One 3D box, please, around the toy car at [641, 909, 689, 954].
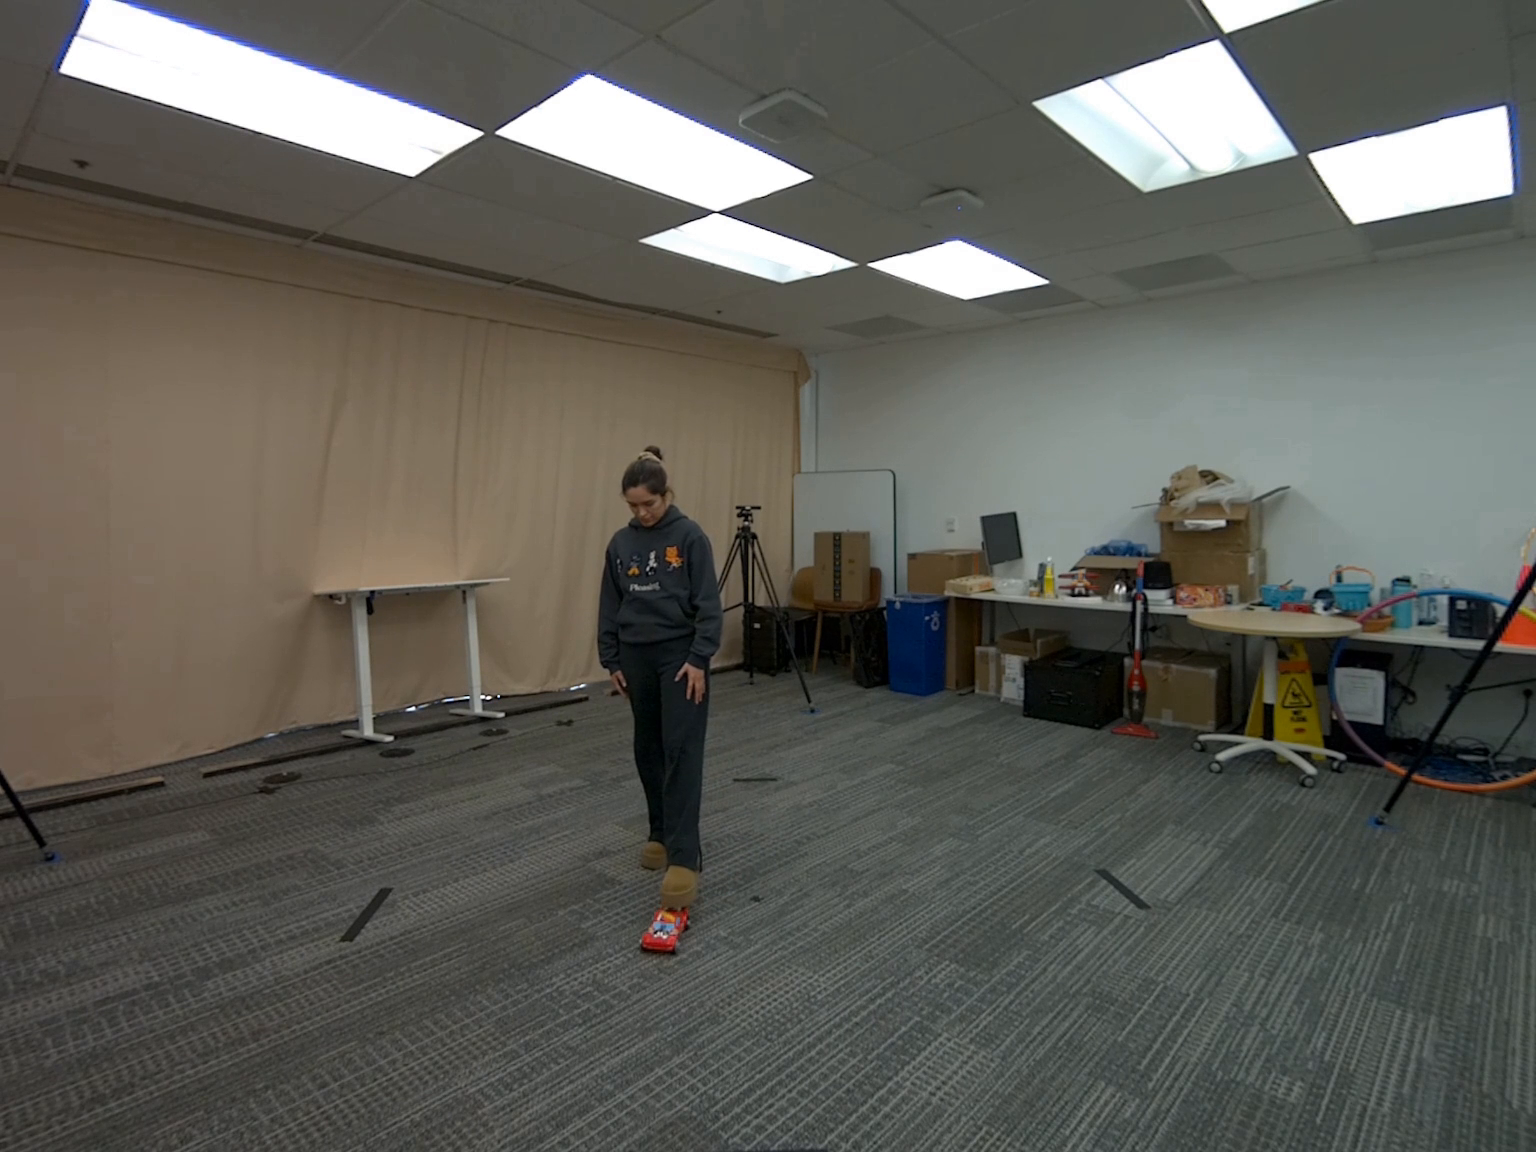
[{"bbox_3d":[-0.316,1.134,2.730,0.132,0.082,0.254,-1,15,9],"label":"toy car"}]
